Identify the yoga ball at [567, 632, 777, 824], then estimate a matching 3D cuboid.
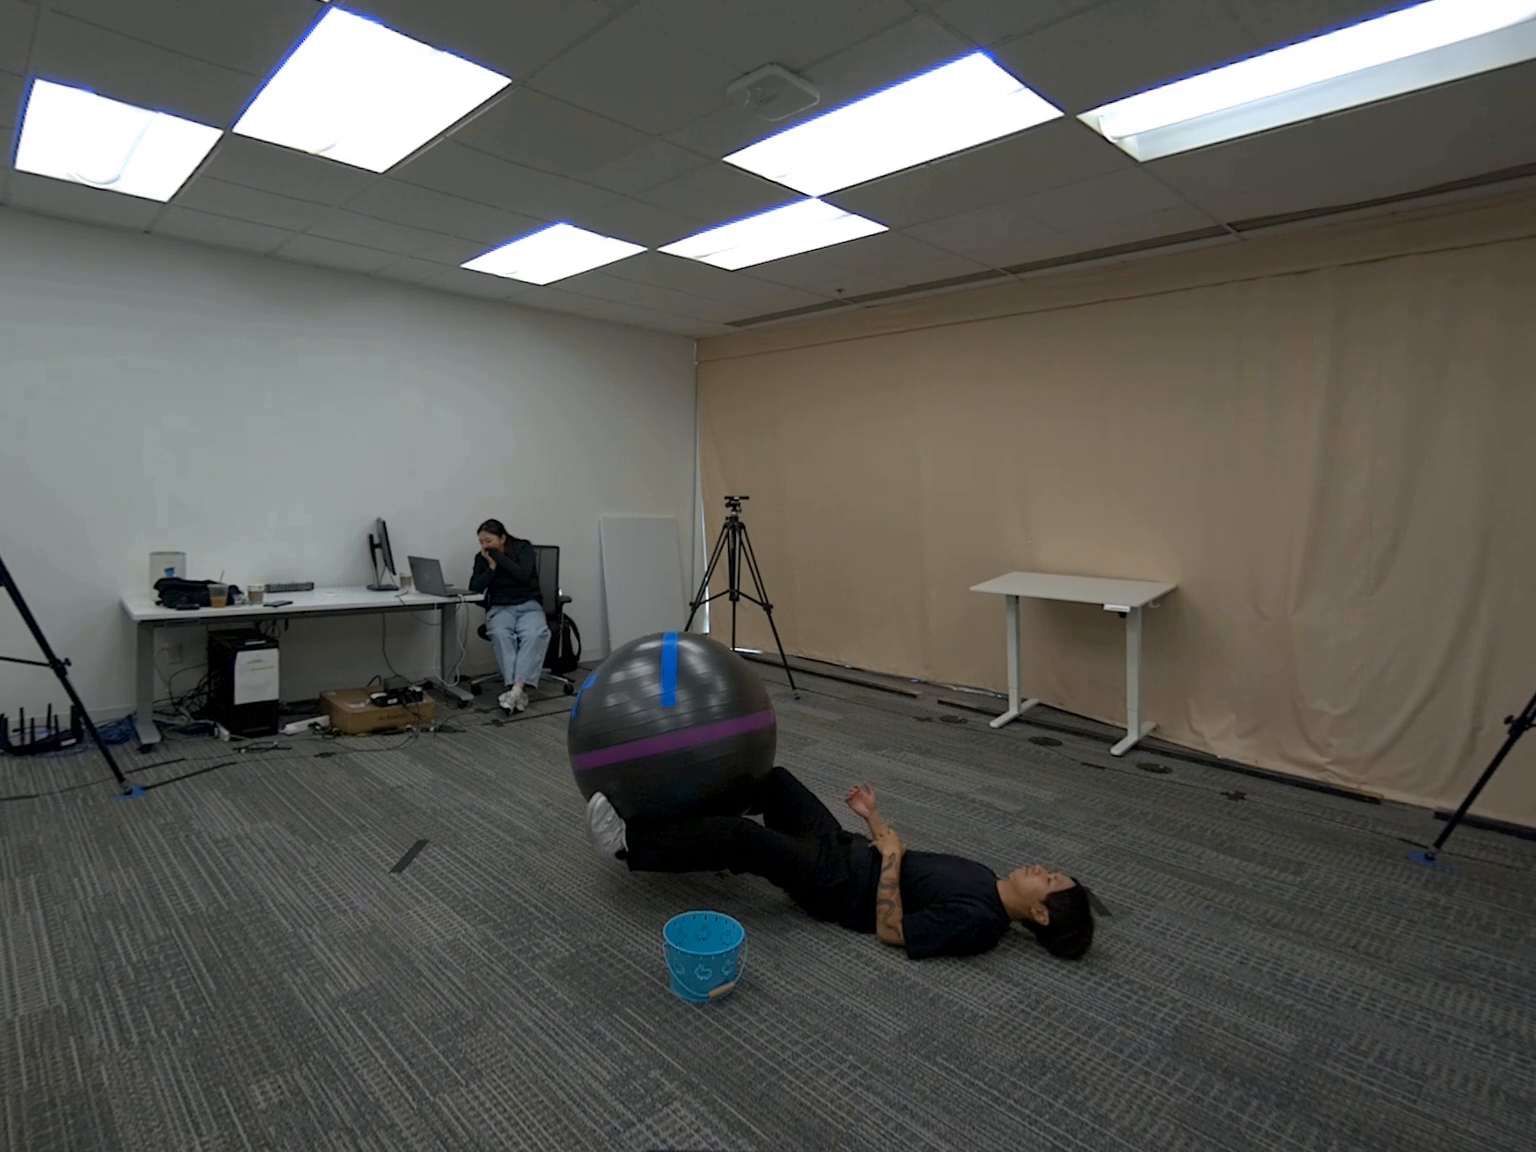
[{"bbox_3d":[-0.354,0.593,3.090,0.757,0.756,0.761,1,4,-1],"label":"yoga ball"}]
